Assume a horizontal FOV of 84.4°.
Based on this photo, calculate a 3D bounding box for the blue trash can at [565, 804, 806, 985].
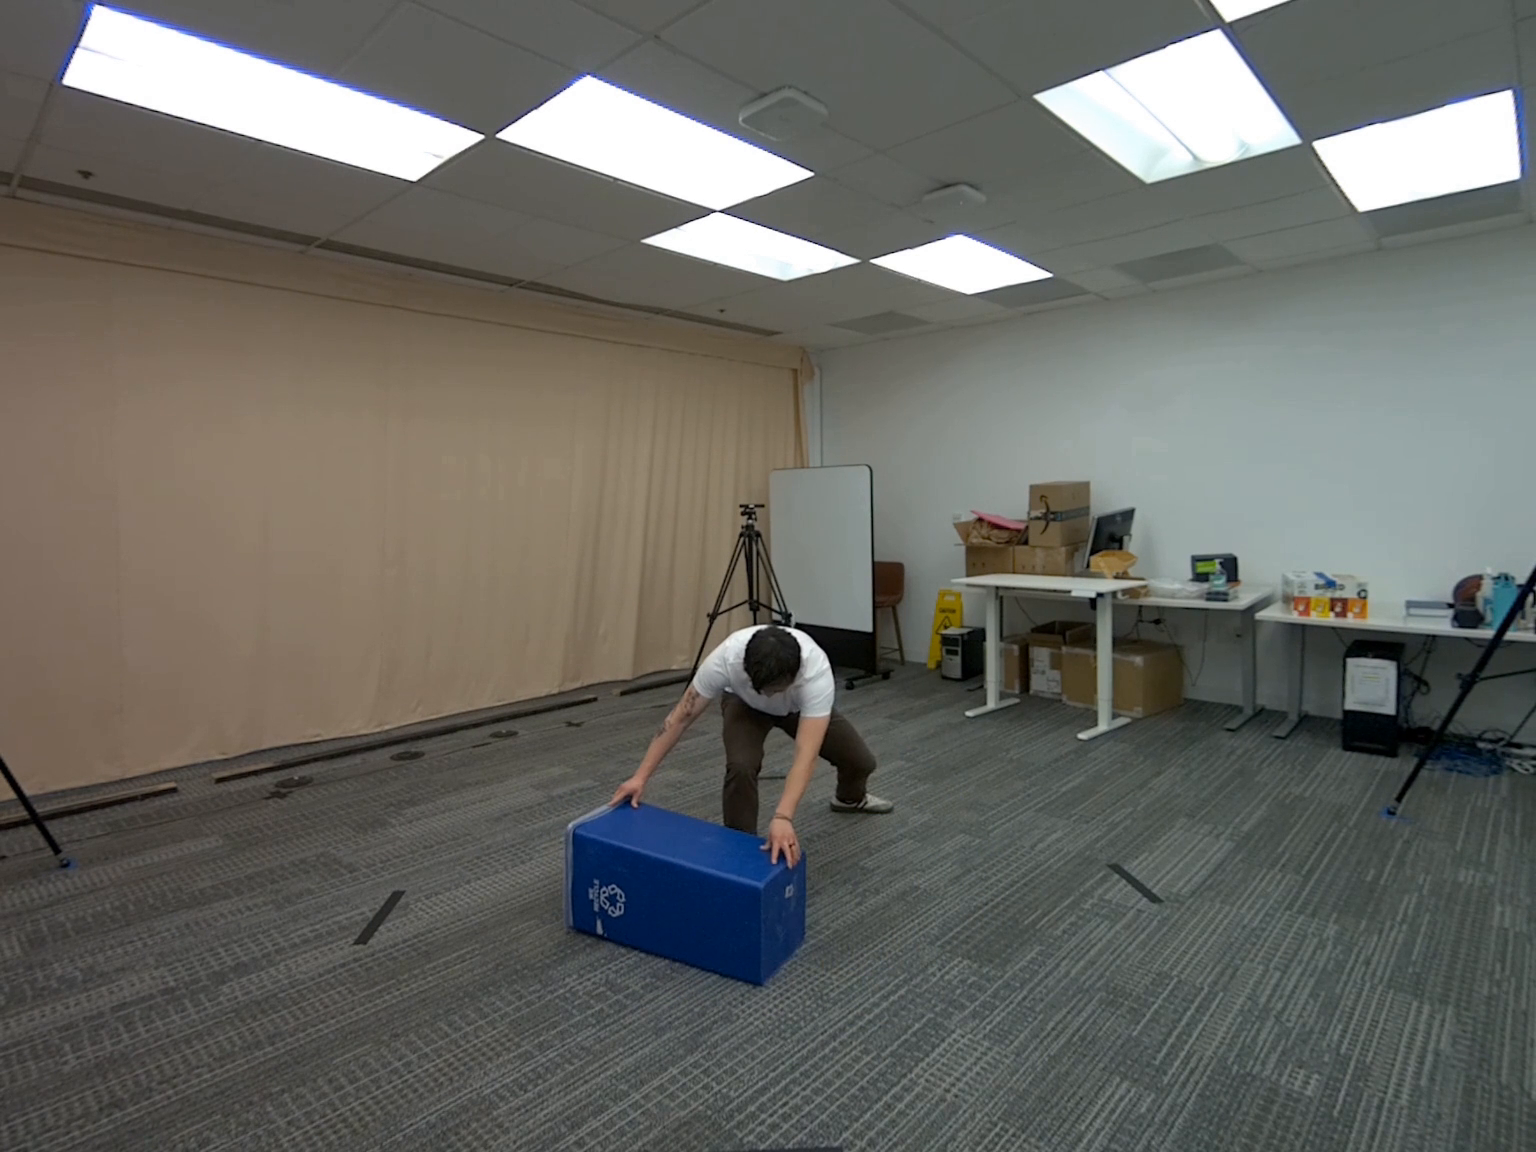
[{"bbox_3d":[-0.247,0.999,2.701,0.734,0.377,0.364,4,4,29],"label":"blue trash can"}]
